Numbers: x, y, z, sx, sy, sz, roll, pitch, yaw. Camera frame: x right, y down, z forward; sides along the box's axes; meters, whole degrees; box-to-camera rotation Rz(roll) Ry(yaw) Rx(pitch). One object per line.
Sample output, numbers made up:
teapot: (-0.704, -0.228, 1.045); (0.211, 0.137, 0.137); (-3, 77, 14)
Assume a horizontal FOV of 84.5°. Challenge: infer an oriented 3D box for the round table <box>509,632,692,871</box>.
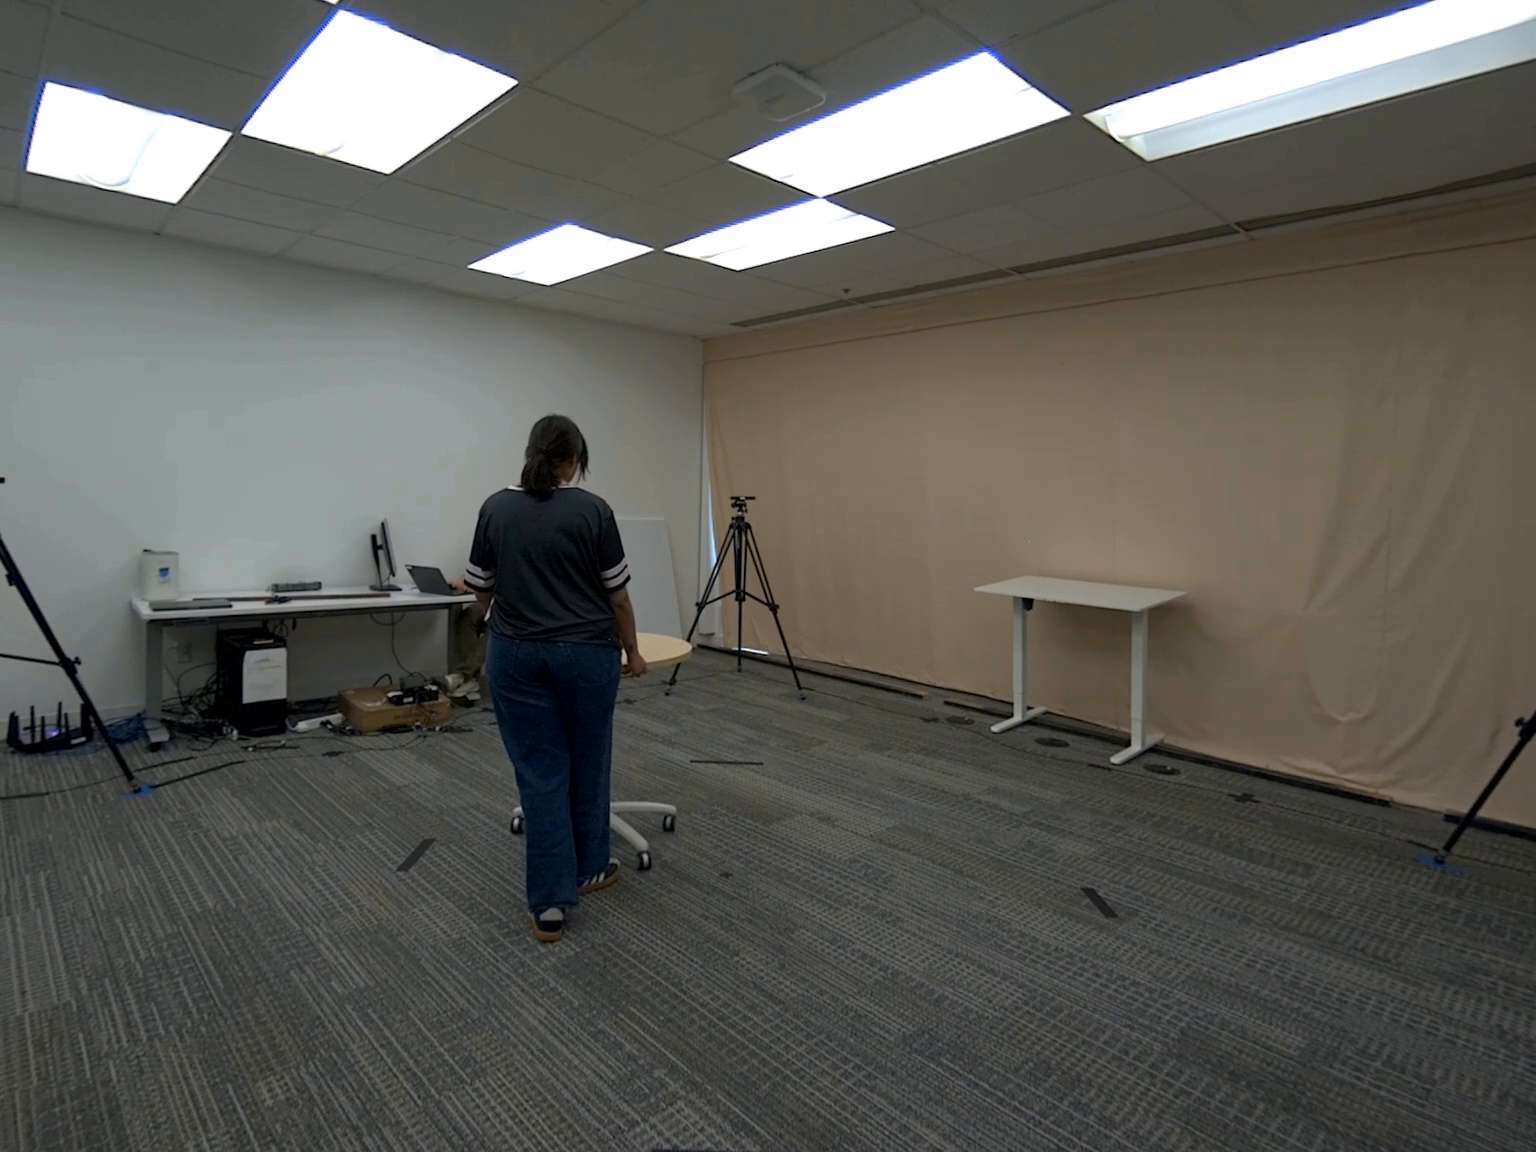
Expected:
round table: (-0.694, 0.681, 3.388); (0.763, 0.792, 0.766); (1, 4, -1)
